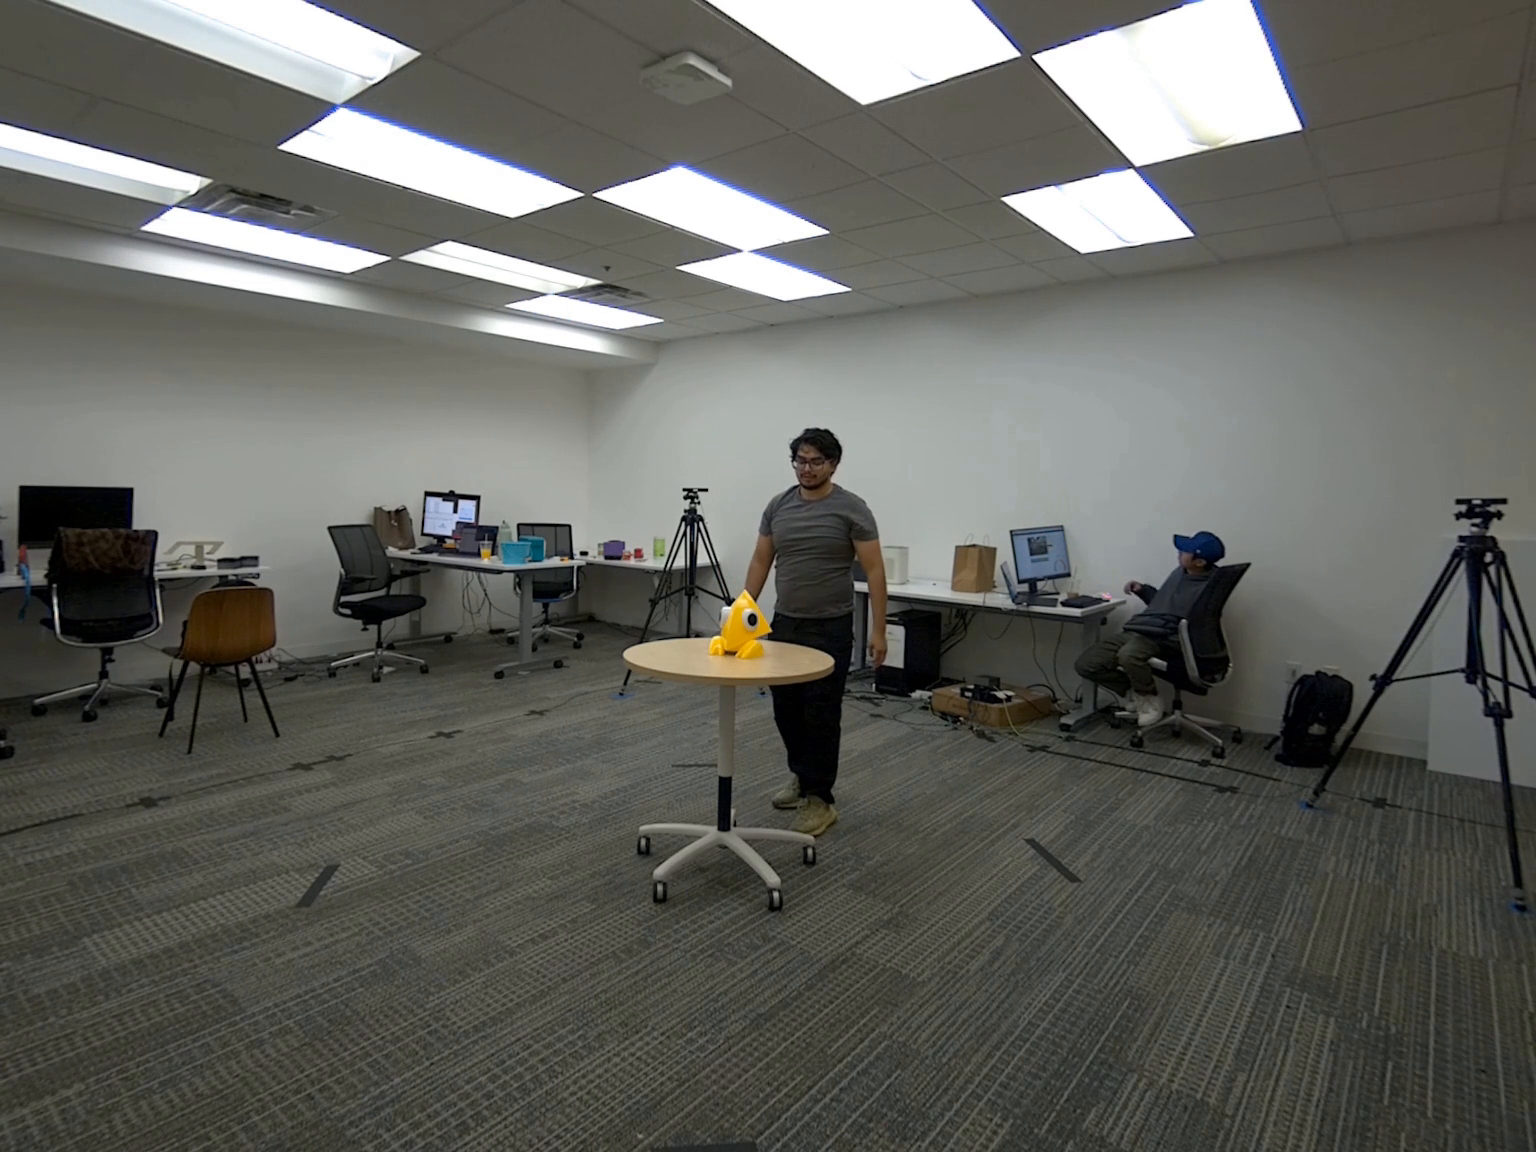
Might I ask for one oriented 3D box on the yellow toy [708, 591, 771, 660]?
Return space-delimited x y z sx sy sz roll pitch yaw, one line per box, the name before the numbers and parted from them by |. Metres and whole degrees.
yellow toy | -0.122 0.169 3.150 0.210 0.230 0.189 3 4 23
